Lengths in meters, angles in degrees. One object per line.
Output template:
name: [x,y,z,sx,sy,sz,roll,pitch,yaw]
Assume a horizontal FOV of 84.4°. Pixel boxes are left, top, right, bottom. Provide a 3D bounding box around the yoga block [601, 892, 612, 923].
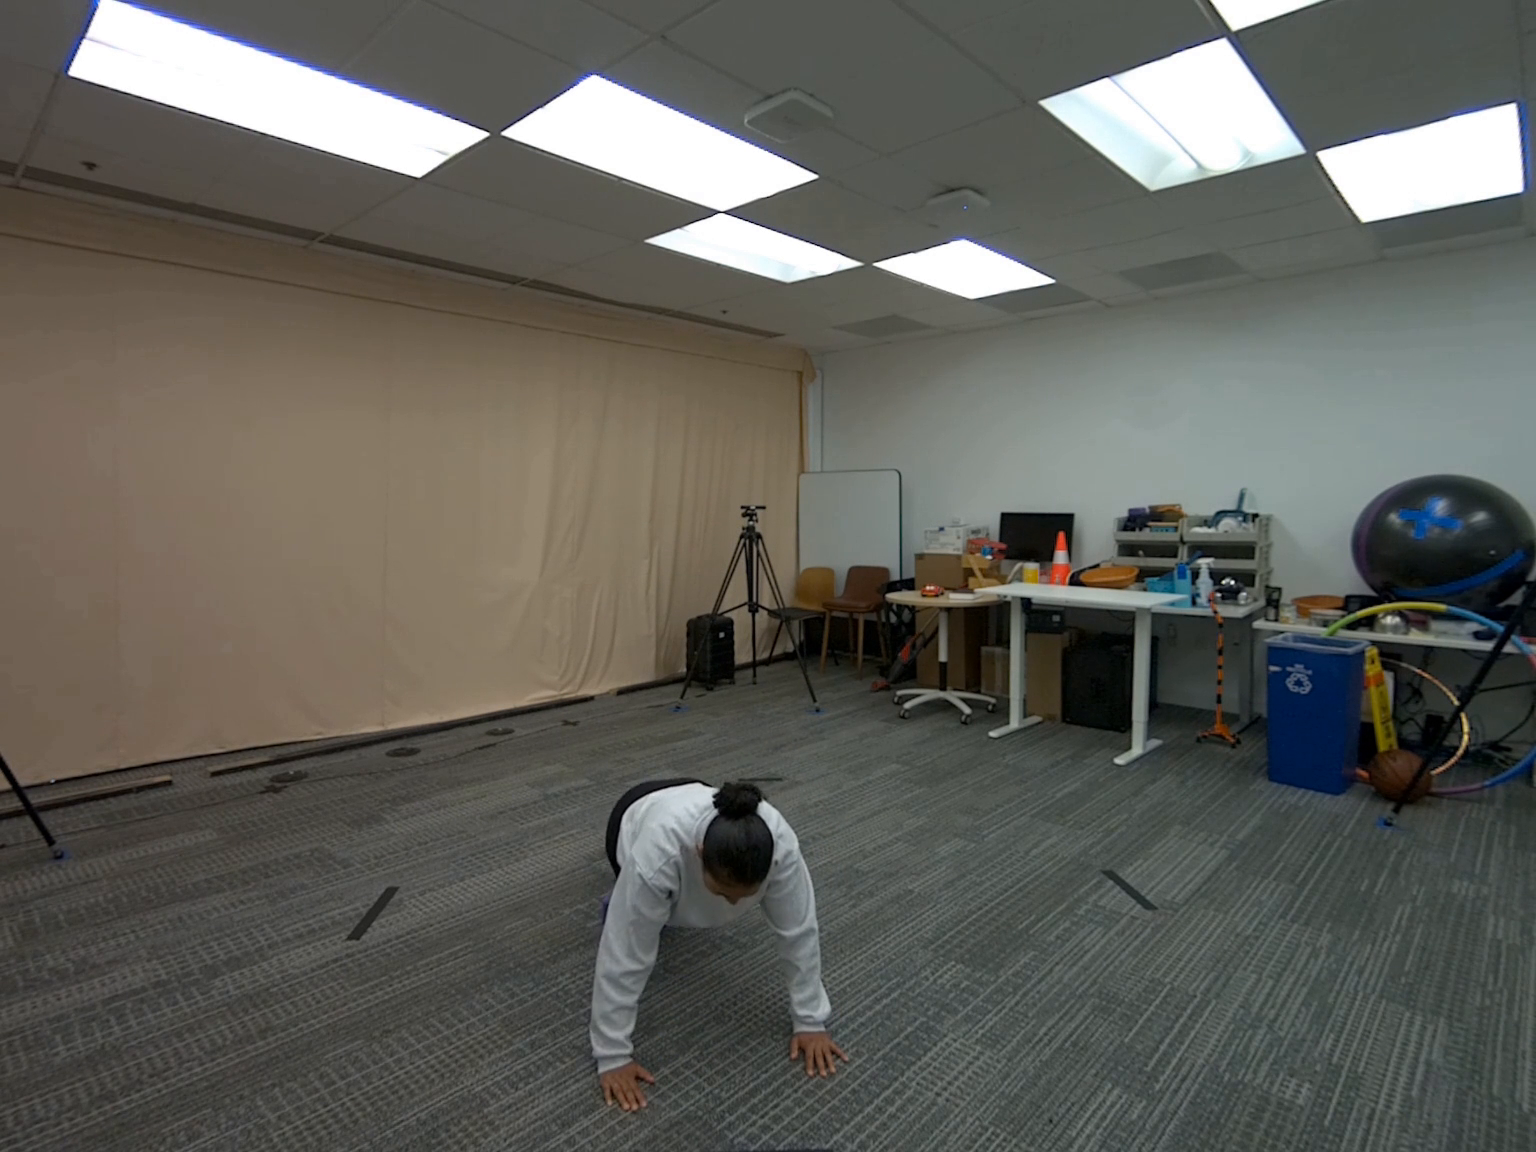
yoga block: [-0.430,1.100,2.860,0.232,0.076,0.147,1,2,9]
